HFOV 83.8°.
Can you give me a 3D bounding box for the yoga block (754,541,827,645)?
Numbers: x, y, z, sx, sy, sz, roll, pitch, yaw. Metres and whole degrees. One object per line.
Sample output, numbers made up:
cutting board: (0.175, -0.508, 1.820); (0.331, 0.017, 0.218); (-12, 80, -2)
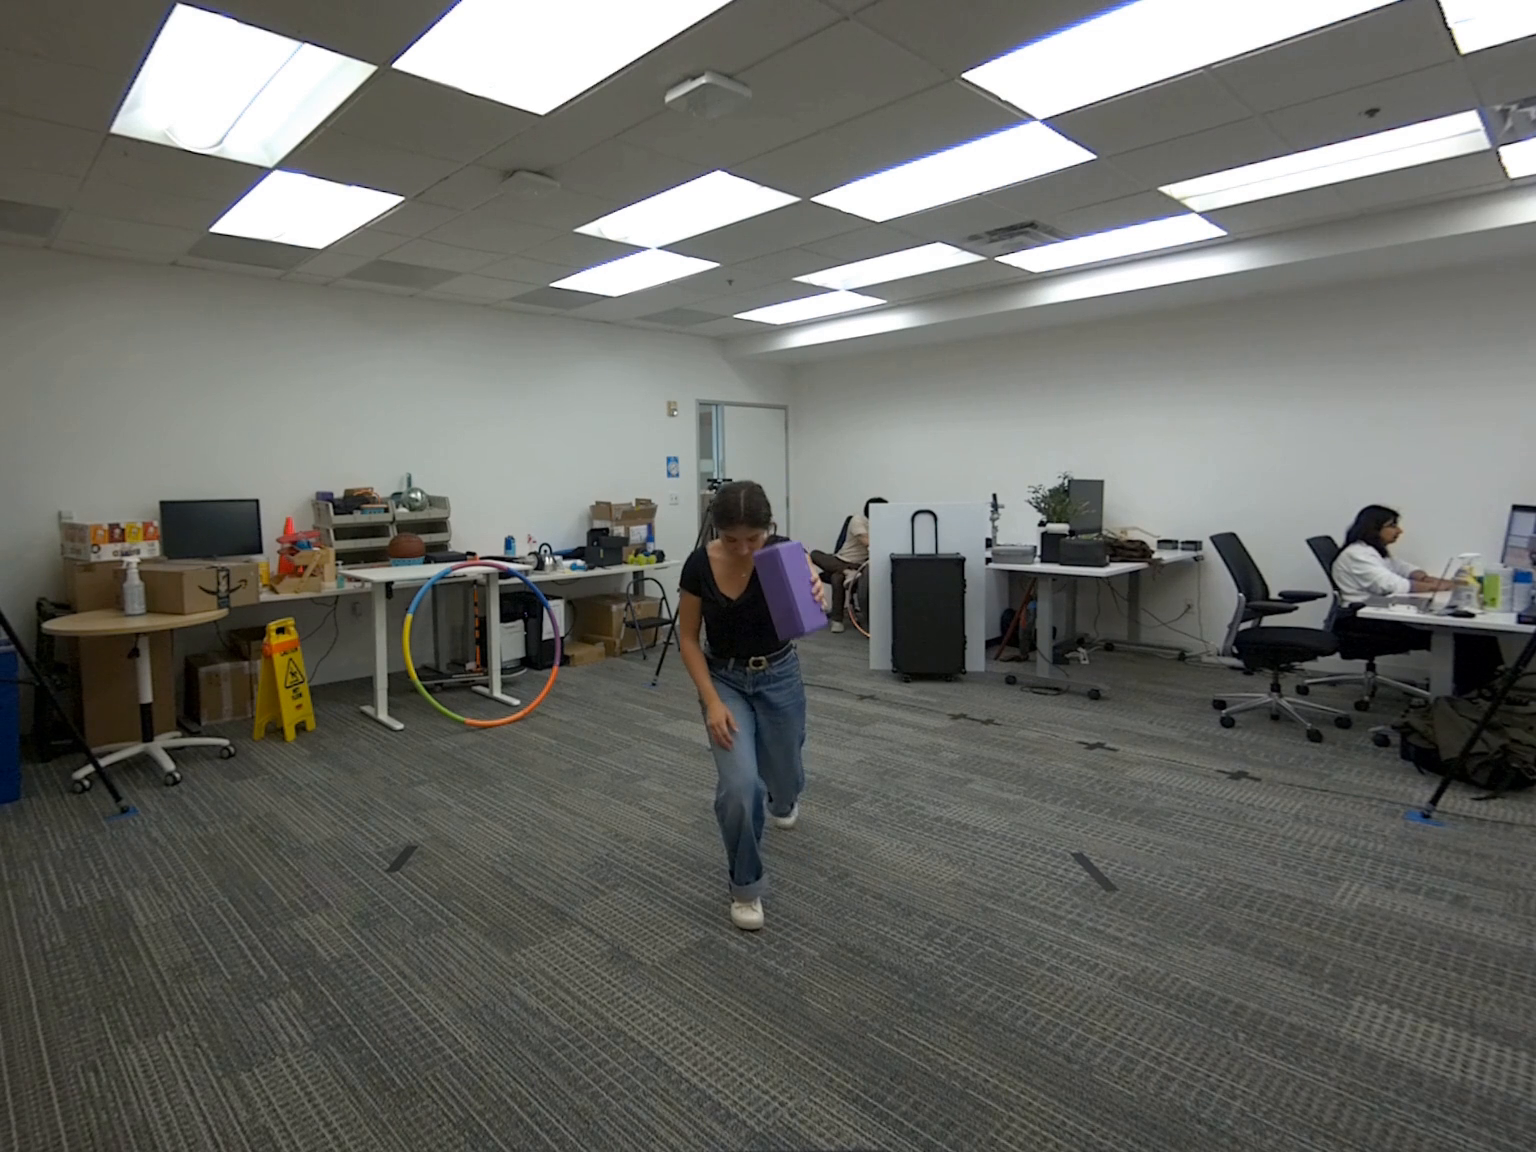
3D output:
yoga block: (0.058, 0.037, 2.136); (0.078, 0.230, 0.146); (-16, -3, 27)
